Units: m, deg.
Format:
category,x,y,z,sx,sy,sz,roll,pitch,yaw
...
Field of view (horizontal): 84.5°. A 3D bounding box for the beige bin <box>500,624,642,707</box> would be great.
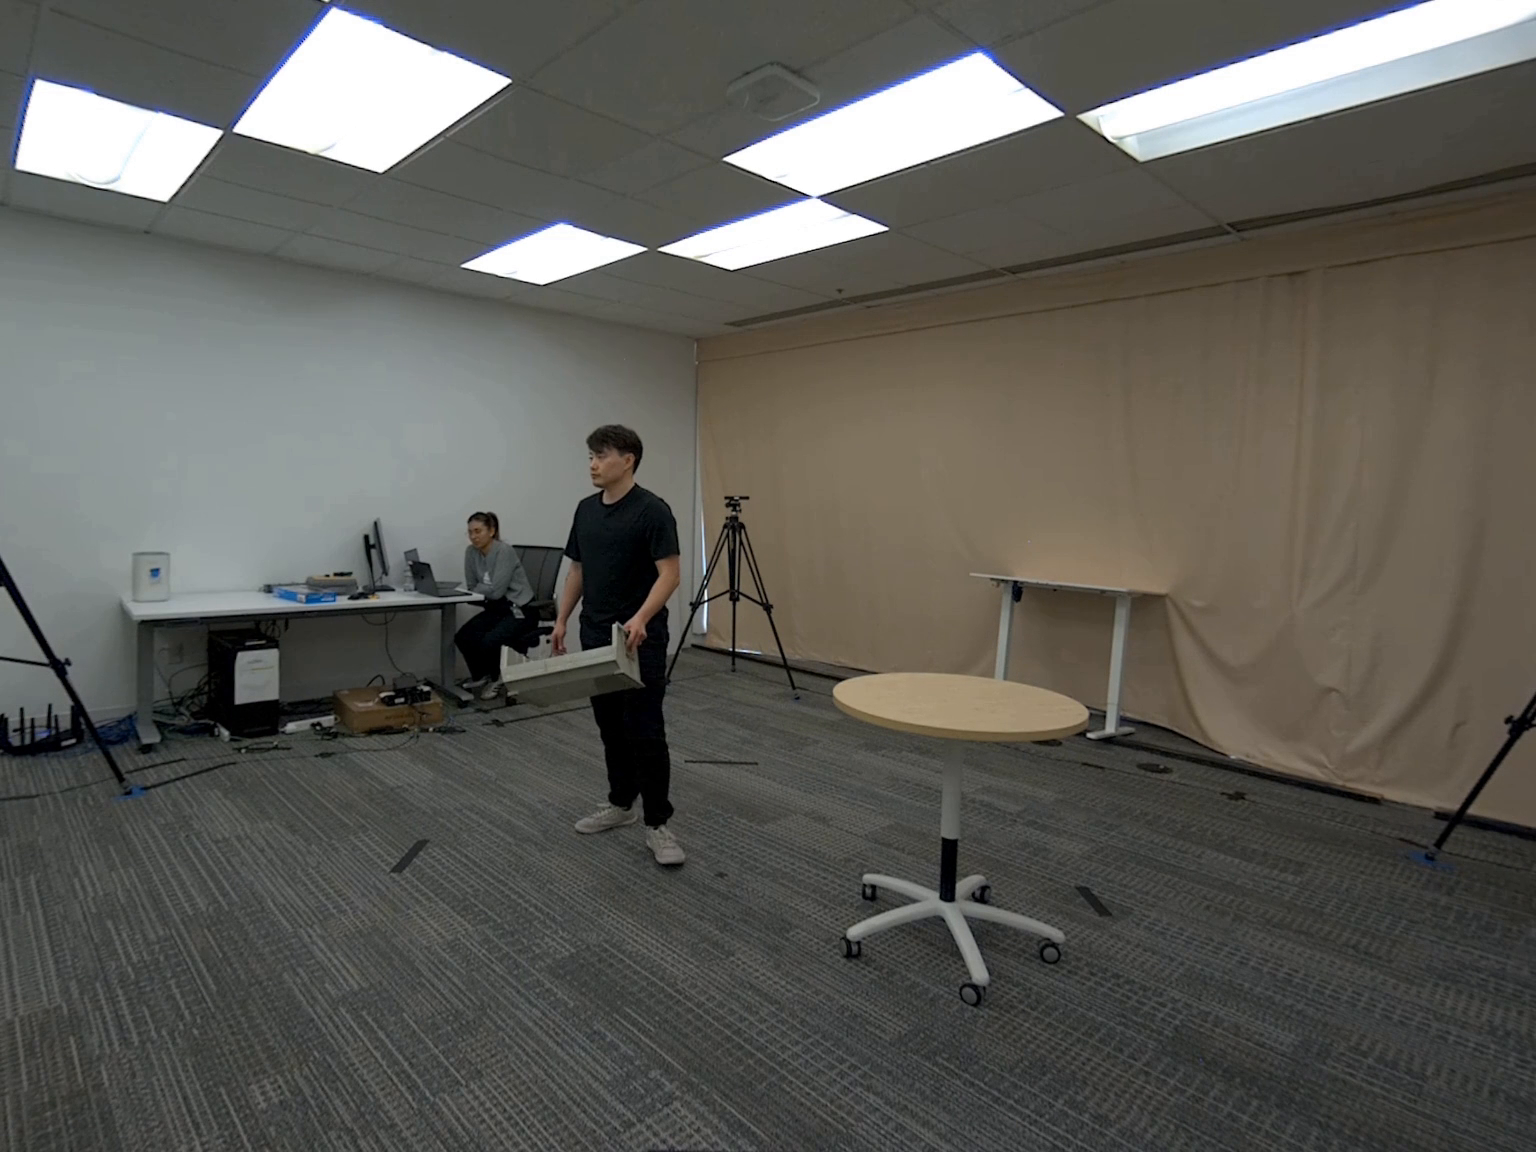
category,x,y,z,sx,sy,sz,roll,pitch,yaw
beige bin,-0.709,0.323,3.045,0.423,0.192,0.370,-10,-19,4
